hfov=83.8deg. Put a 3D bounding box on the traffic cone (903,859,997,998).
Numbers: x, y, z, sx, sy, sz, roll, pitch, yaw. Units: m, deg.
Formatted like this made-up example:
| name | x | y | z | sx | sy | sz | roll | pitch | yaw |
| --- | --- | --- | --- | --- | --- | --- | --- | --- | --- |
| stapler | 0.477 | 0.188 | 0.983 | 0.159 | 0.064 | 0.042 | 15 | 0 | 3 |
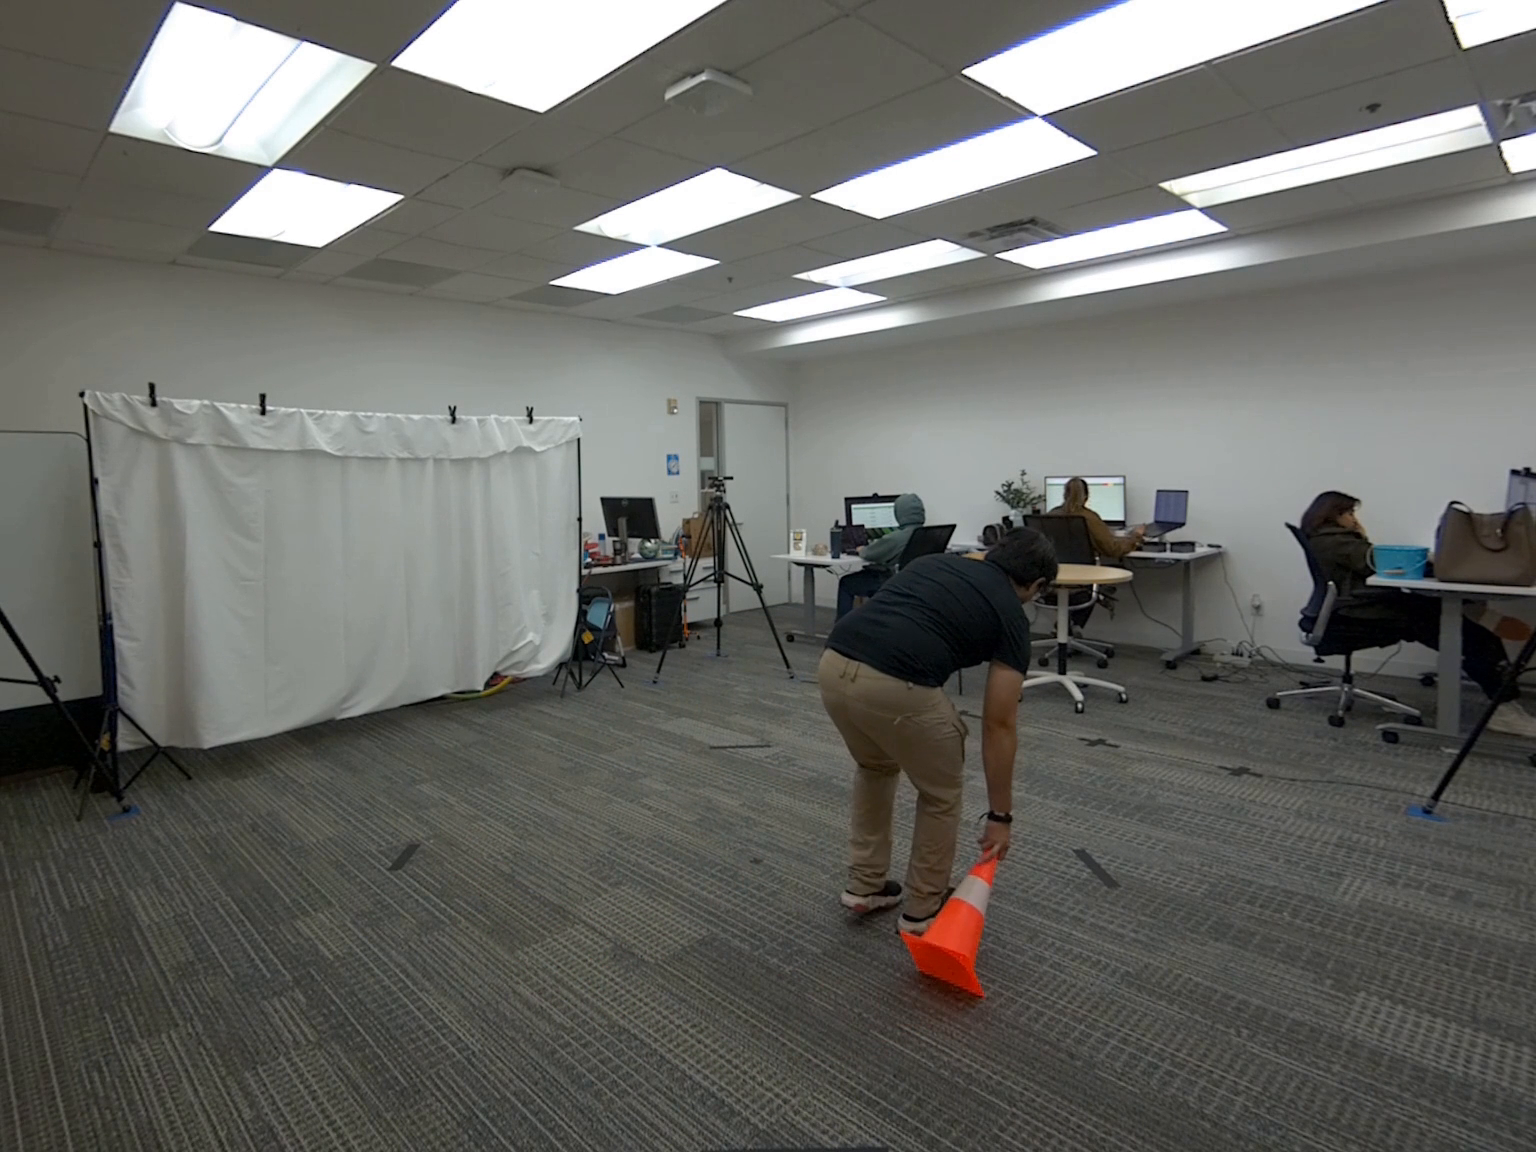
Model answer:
| name | x | y | z | sx | sy | sz | roll | pitch | yaw |
| --- | --- | --- | --- | --- | --- | --- | --- | --- | --- |
| traffic cone | 0.573 | 0.931 | 2.395 | 0.209 | 0.199 | 0.385 | -1 | 40 | 41 |
